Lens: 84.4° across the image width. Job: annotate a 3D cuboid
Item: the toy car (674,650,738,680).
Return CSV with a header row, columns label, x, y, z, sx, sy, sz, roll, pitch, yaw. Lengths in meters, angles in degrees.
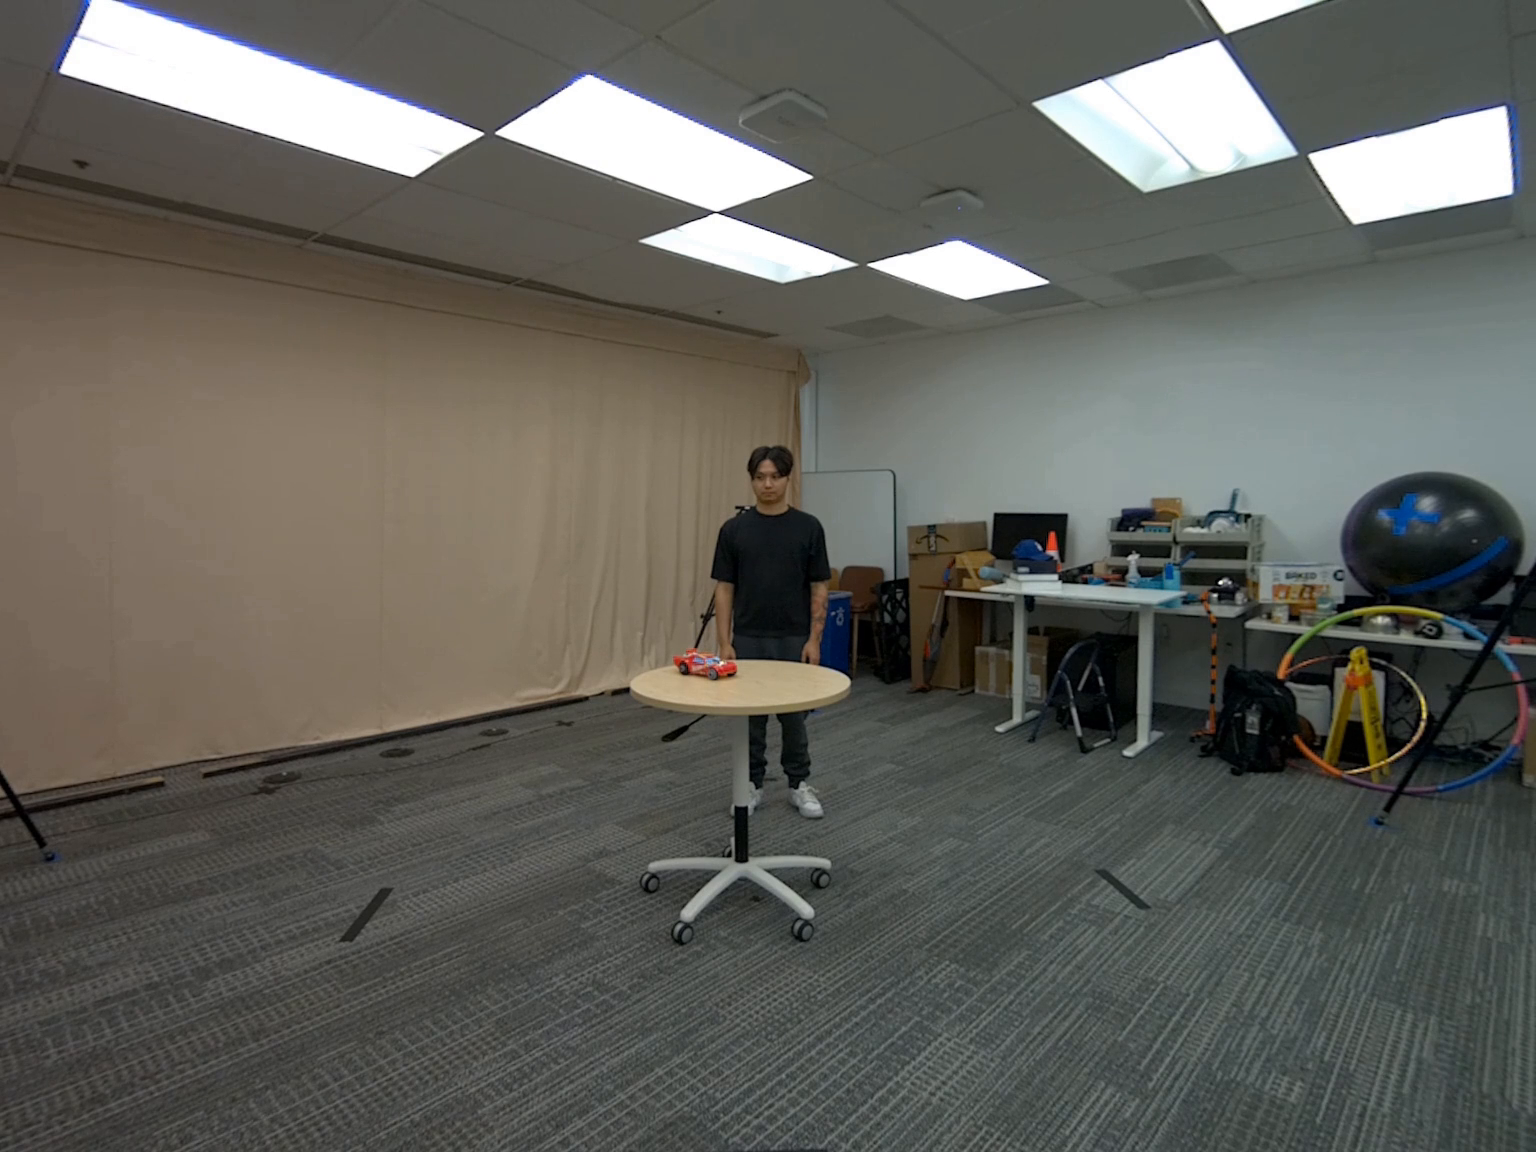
label,x,y,z,sx,sy,sz,roll,pitch,yaw
toy car,-0.236,0.325,3.055,0.264,0.083,0.126,17,16,40
